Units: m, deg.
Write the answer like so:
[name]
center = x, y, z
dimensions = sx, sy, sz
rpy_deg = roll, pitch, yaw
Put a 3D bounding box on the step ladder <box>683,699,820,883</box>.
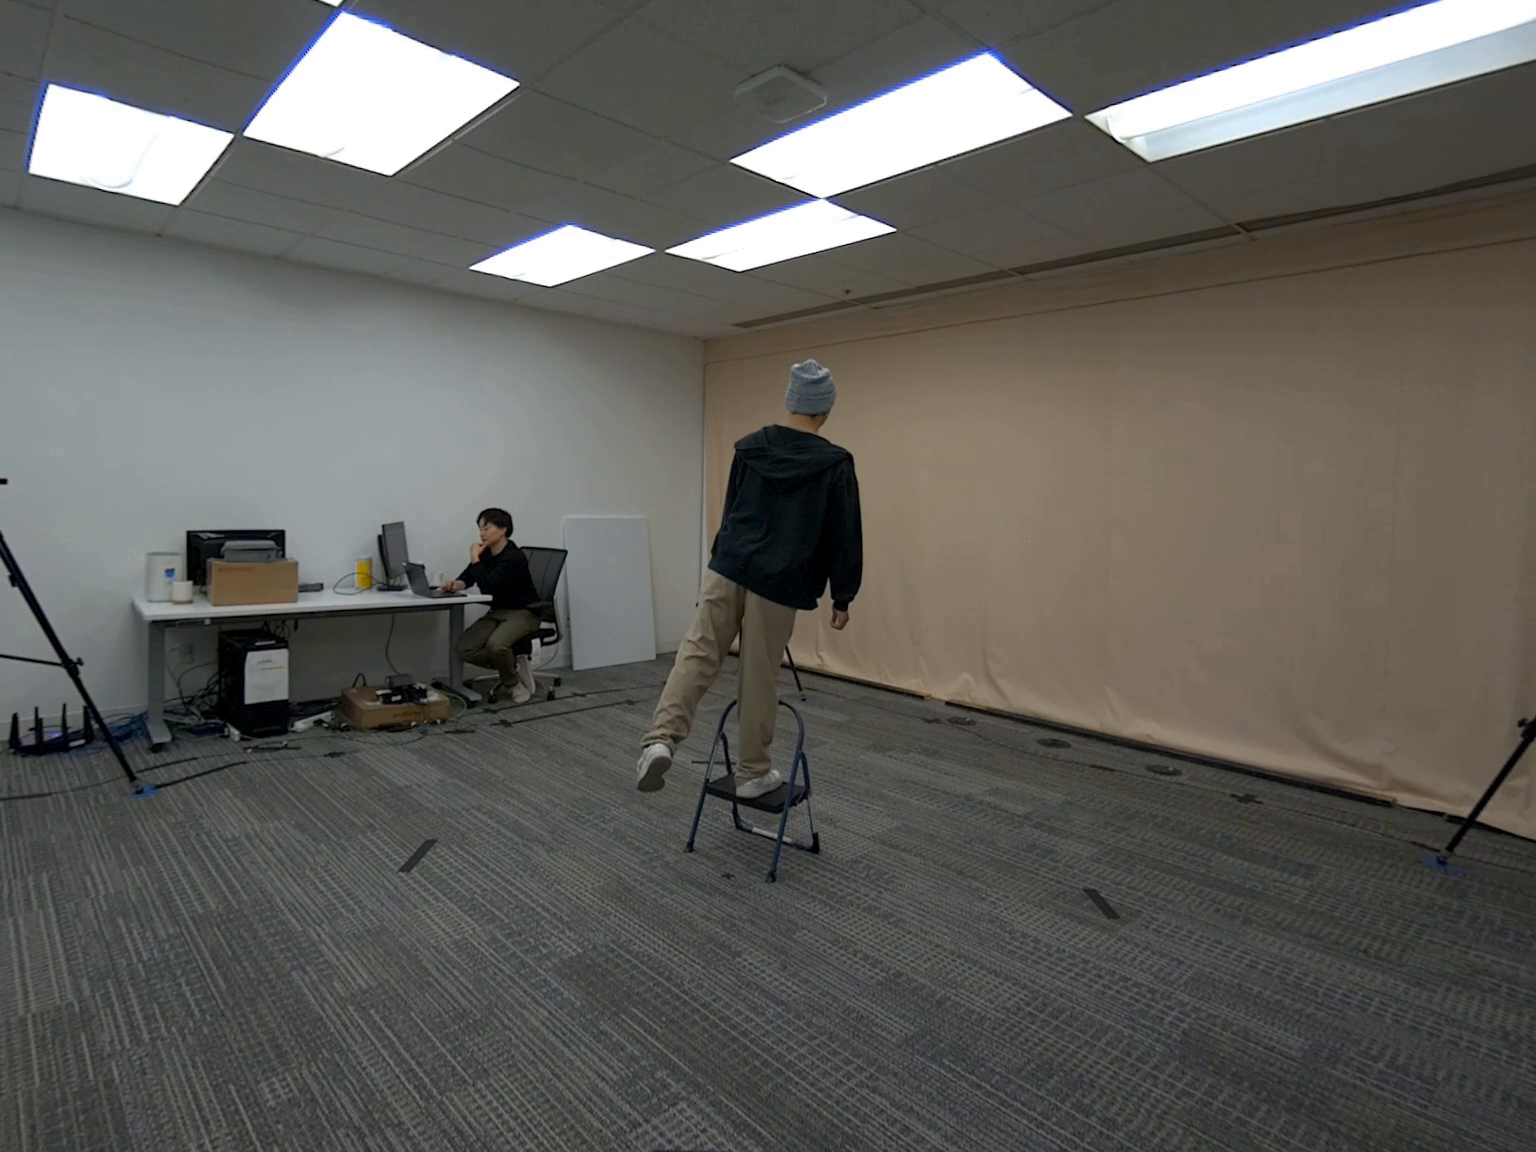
[step ladder]
center = -0.056, 0.790, 3.308
dimensions = 0.441, 0.605, 0.341
rpy_deg = 4, 4, 36
